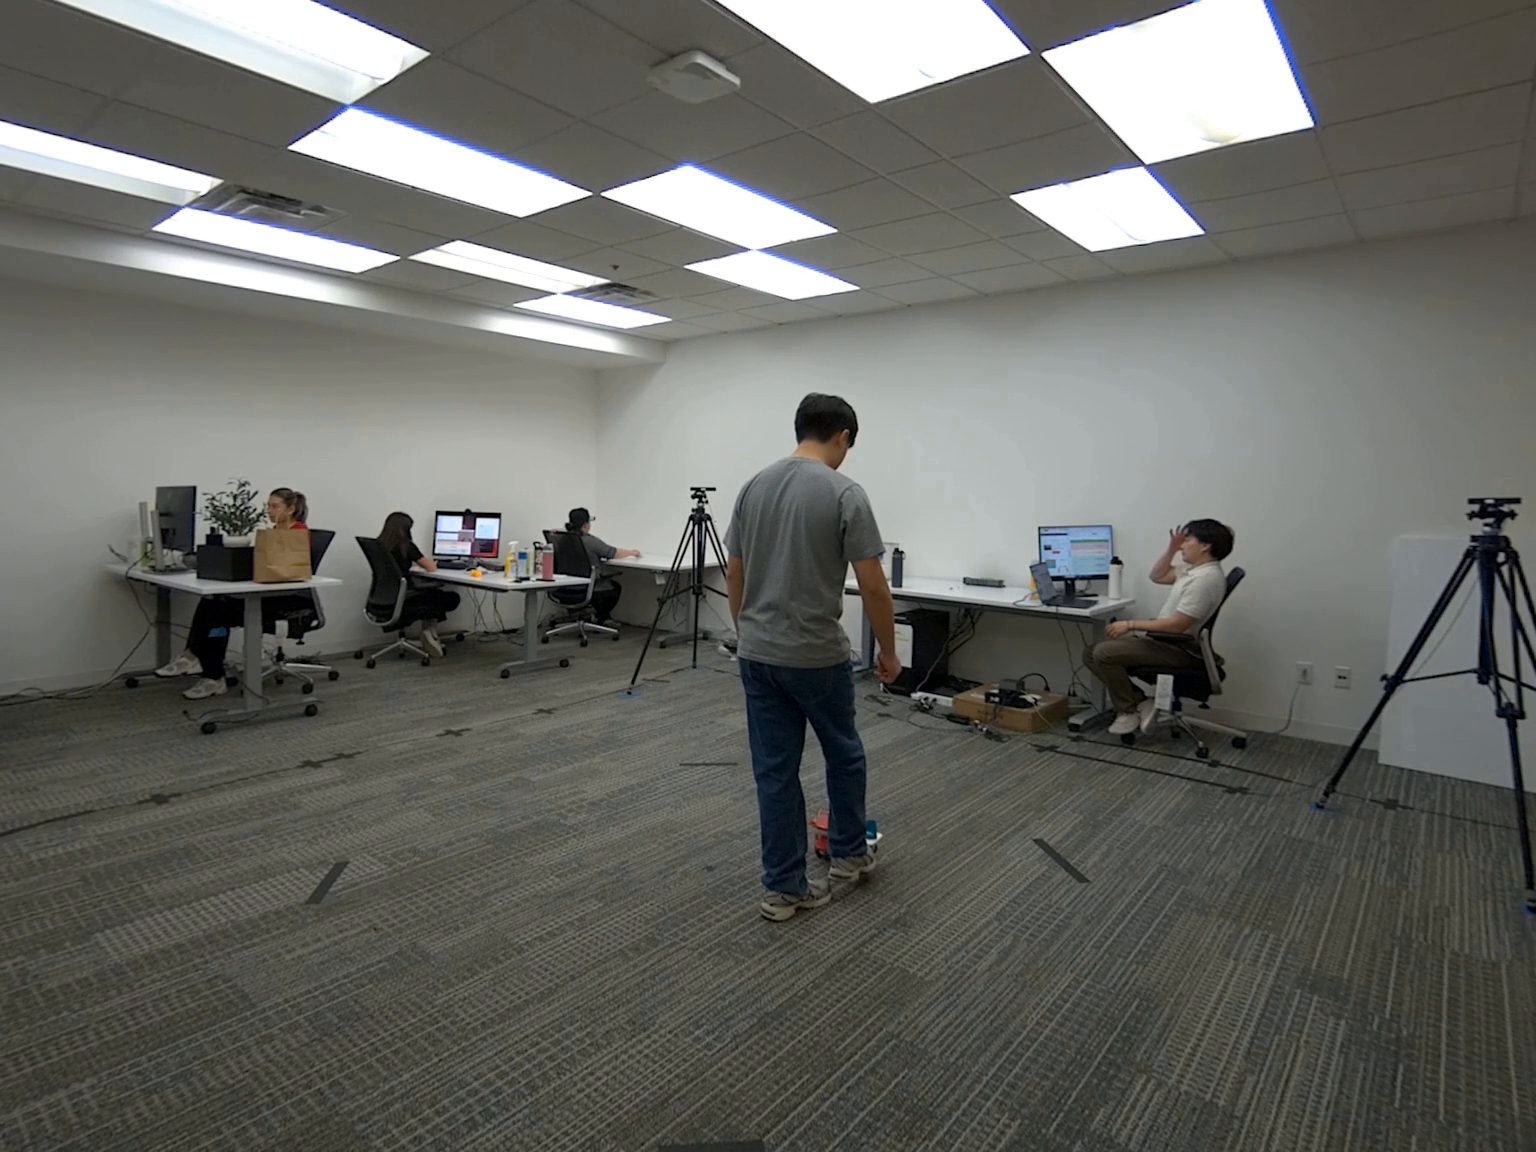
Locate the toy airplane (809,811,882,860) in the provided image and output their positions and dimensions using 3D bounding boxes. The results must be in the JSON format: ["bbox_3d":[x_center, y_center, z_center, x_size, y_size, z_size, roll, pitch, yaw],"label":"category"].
[{"bbox_3d":[0.293,0.972,3.228,0.259,0.157,0.249,-12,-3,1],"label":"toy airplane"}]
